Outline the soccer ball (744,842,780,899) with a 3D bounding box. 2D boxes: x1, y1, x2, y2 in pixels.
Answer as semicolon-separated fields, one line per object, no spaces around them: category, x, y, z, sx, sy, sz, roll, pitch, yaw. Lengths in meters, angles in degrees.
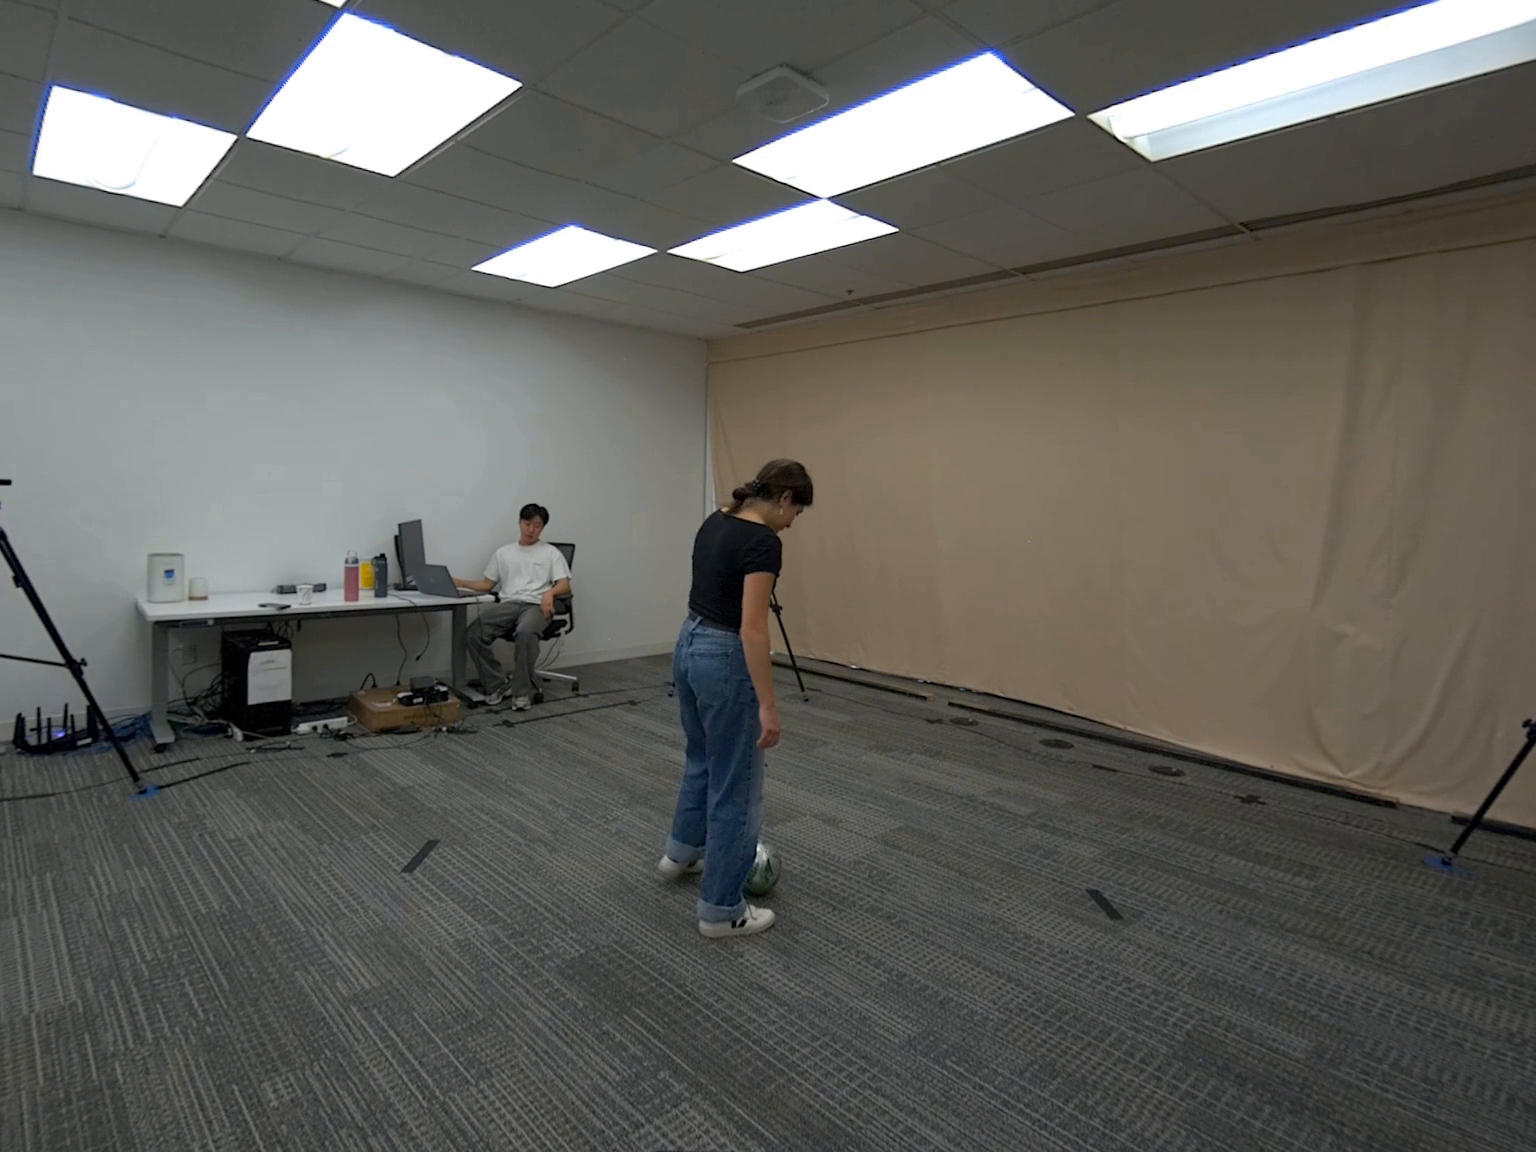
soccer ball;-0.050;1.032;2.969;0.187;0.187;0.188;1;4;-1
